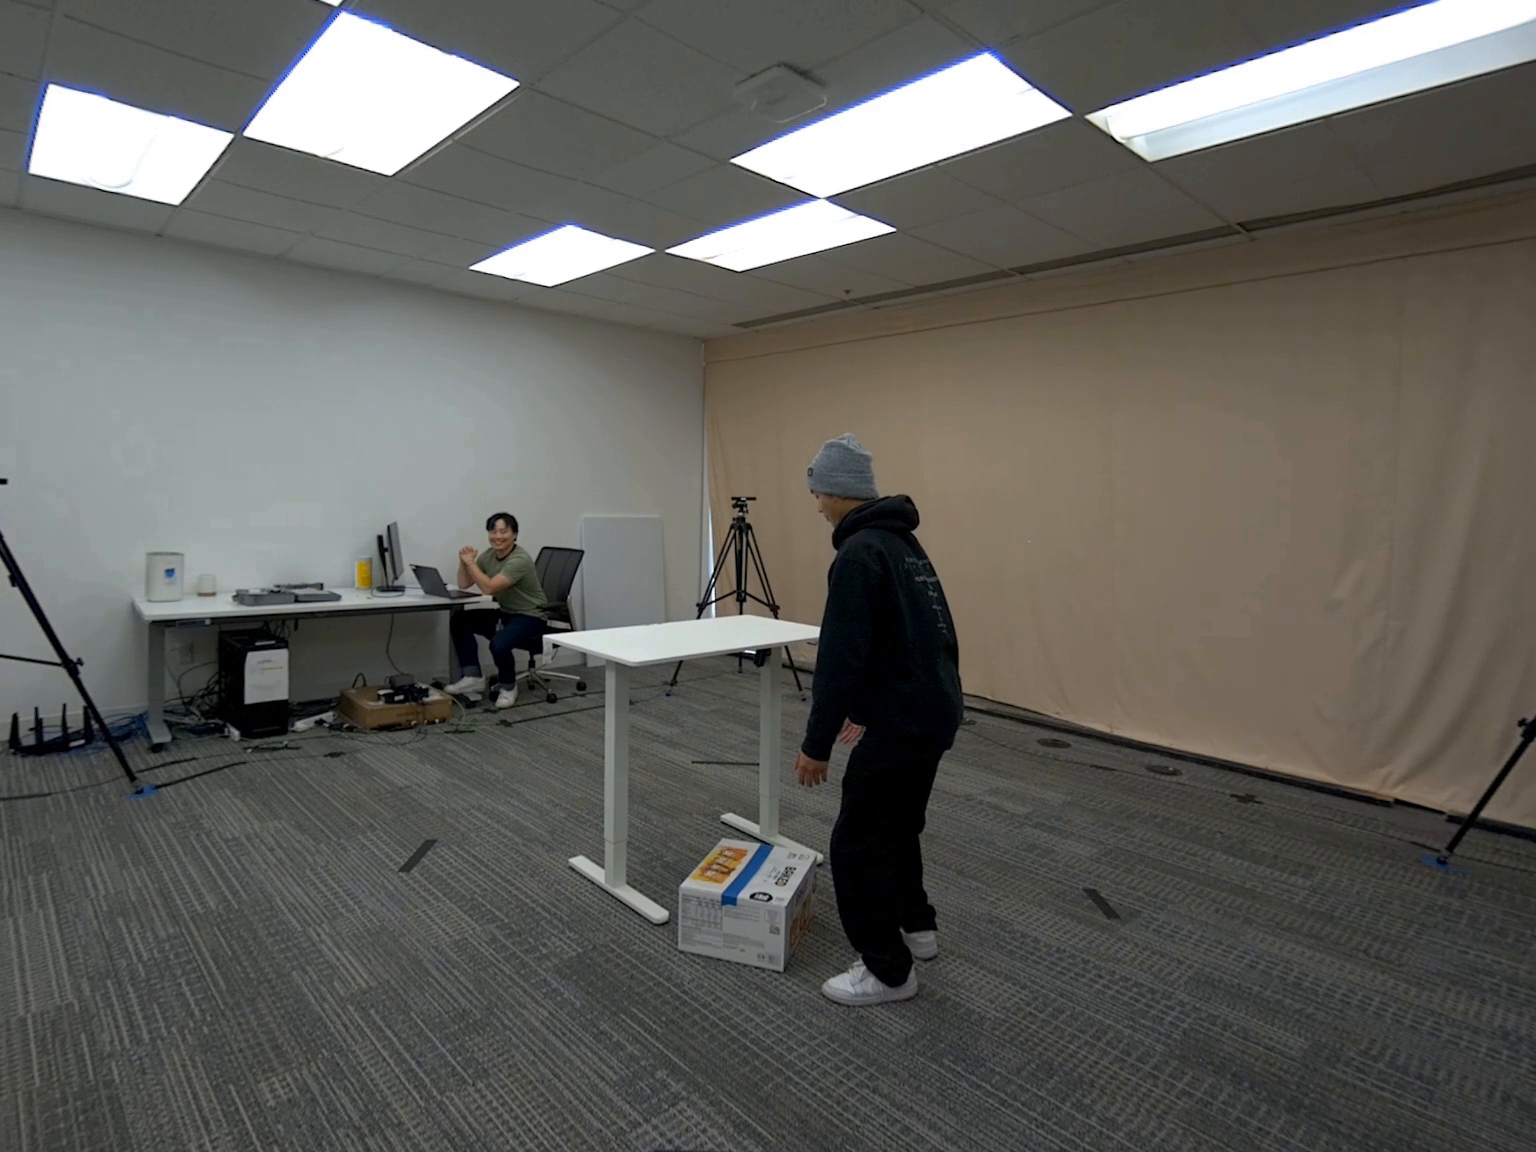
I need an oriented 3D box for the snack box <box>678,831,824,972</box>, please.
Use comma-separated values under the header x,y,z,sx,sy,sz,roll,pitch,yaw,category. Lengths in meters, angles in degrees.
x,y,z,sx,sy,sz,roll,pitch,yaw,category
-0.060,1.045,2.705,0.345,0.205,0.400,2,5,18,snack box
